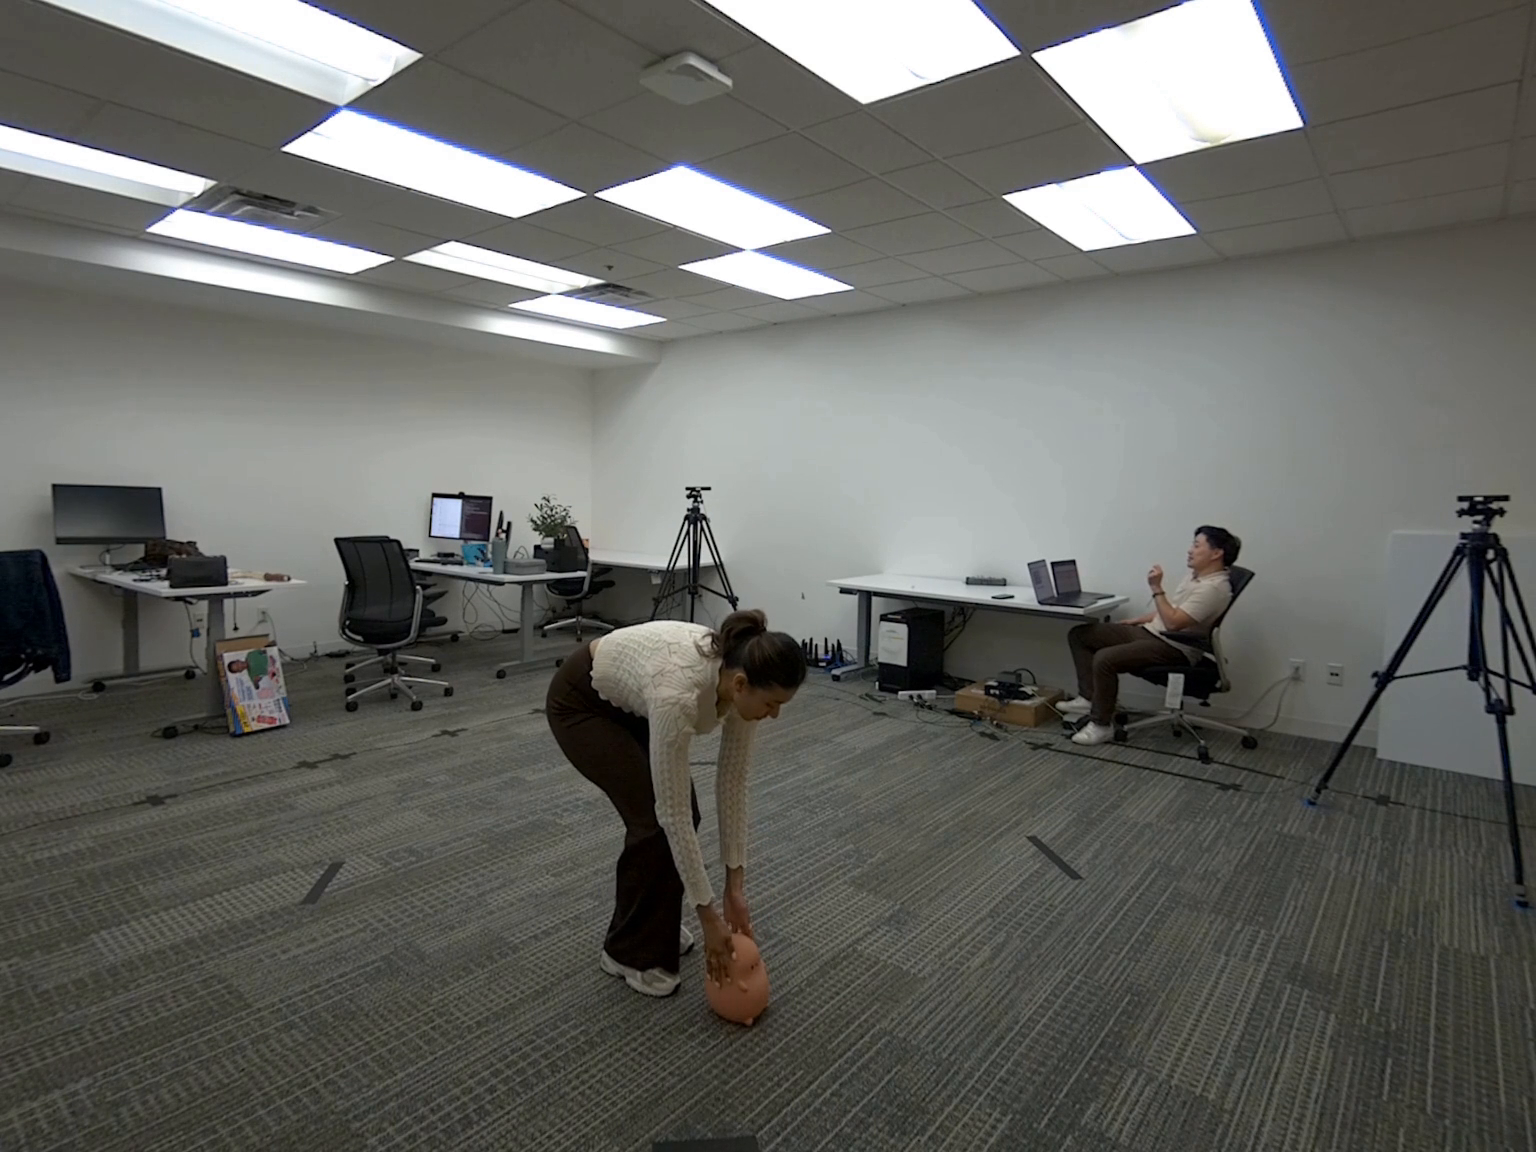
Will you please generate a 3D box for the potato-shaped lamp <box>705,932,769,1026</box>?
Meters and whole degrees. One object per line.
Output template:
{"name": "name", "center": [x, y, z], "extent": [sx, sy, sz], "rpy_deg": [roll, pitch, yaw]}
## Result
{"name": "potato-shaped lamp", "center": [-0.090, 1.053, 2.263], "extent": [0.176, 0.197, 0.161], "rpy_deg": [3, 6, 27]}
